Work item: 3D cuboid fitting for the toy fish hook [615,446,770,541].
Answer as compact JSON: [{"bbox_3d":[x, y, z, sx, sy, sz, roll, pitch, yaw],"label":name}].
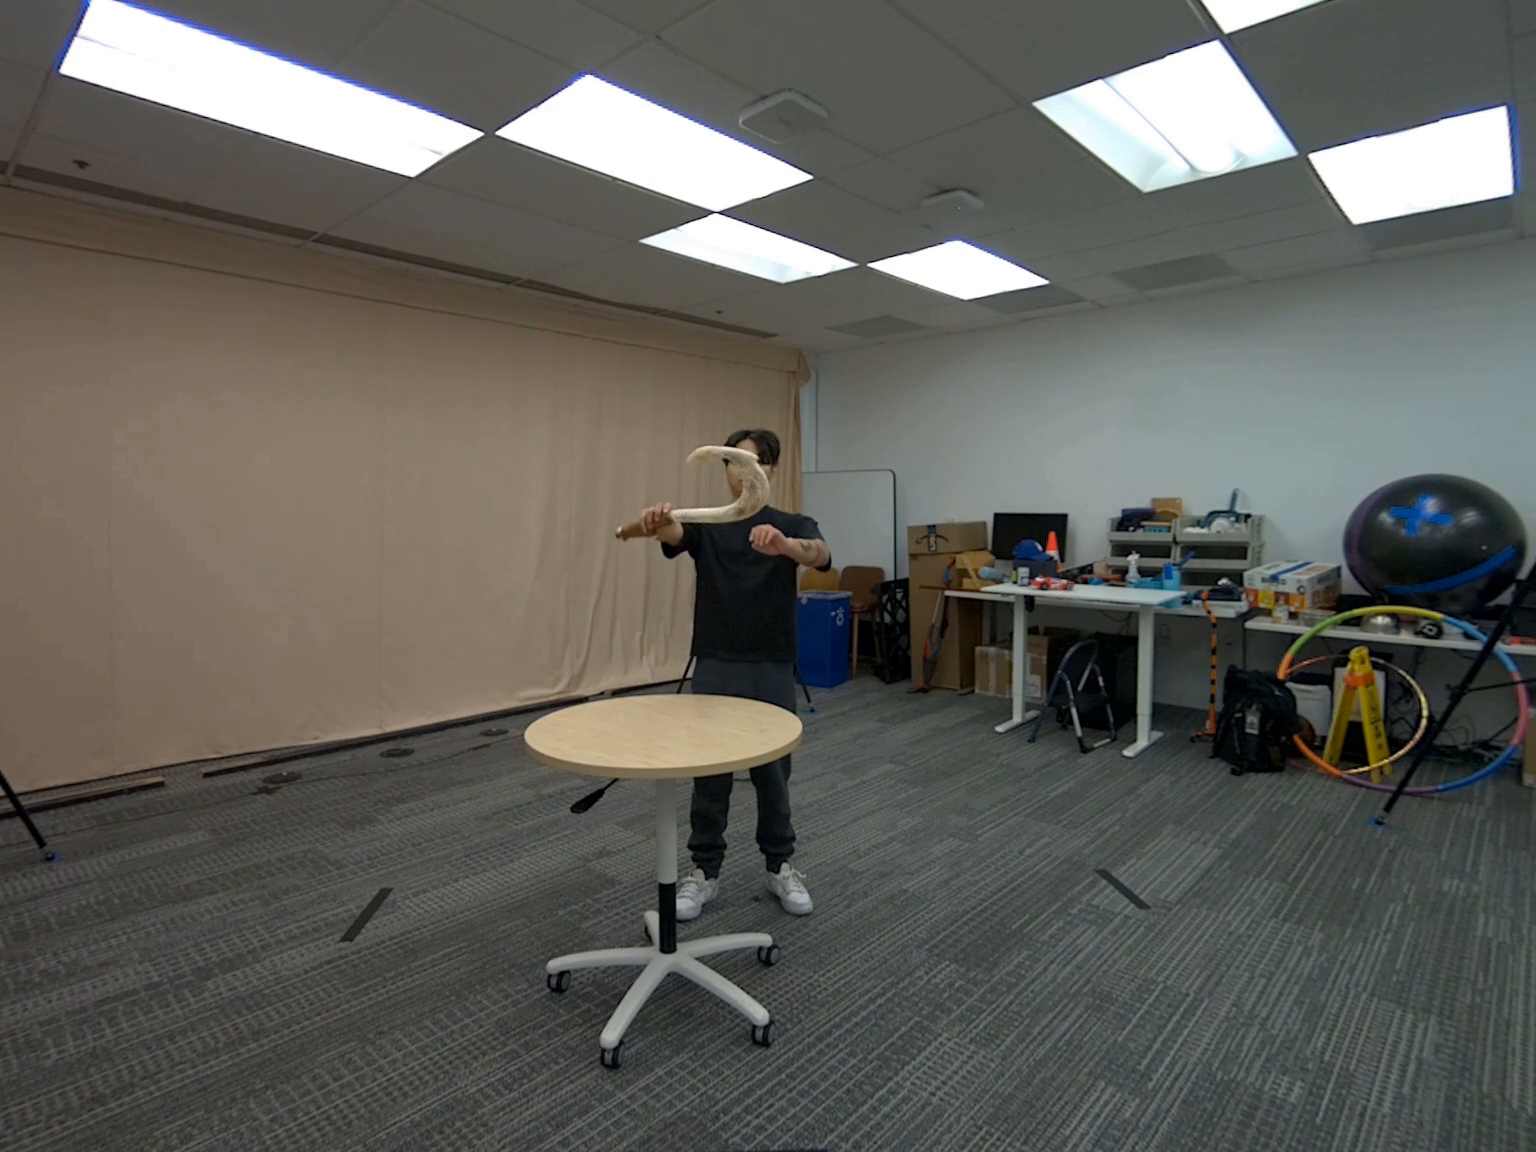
[{"bbox_3d":[-0.230,-0.216,2.339,0.517,0.222,0.048,-14,15,26],"label":"toy fish hook"}]
